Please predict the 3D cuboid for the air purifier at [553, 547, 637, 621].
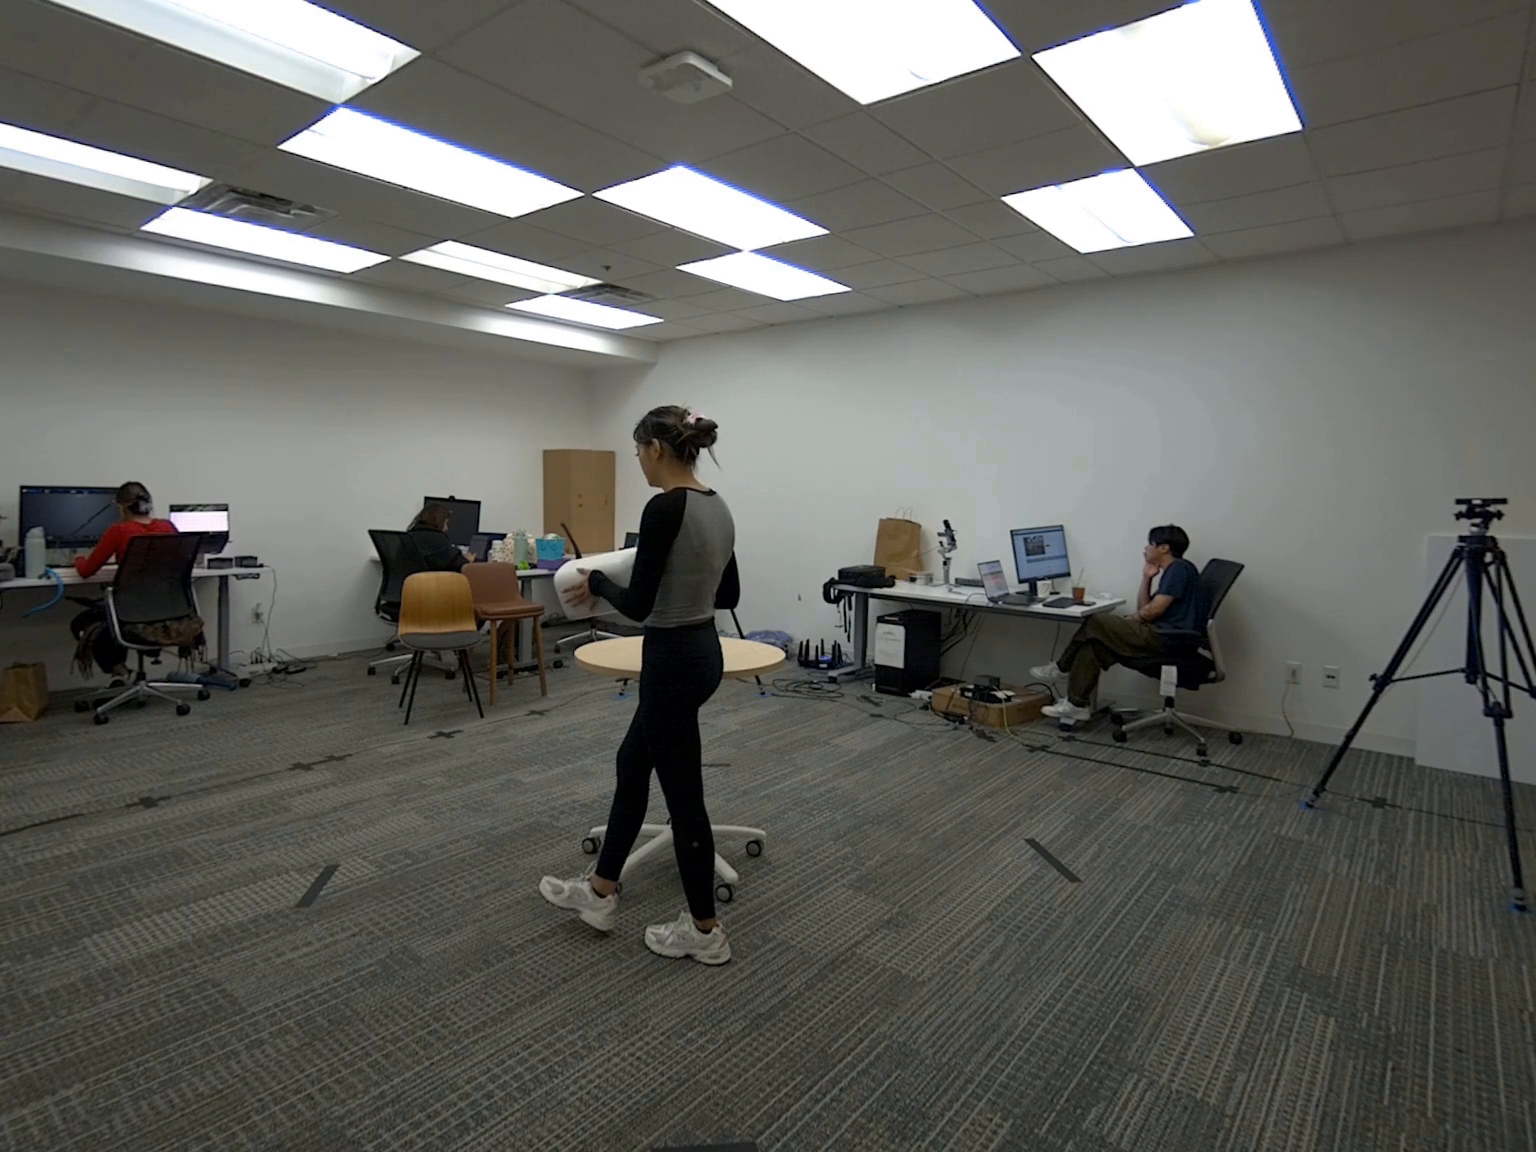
[{"bbox_3d":[-0.522,0.023,2.699,0.269,0.168,0.172,-10,20,18],"label":"air purifier"}]
